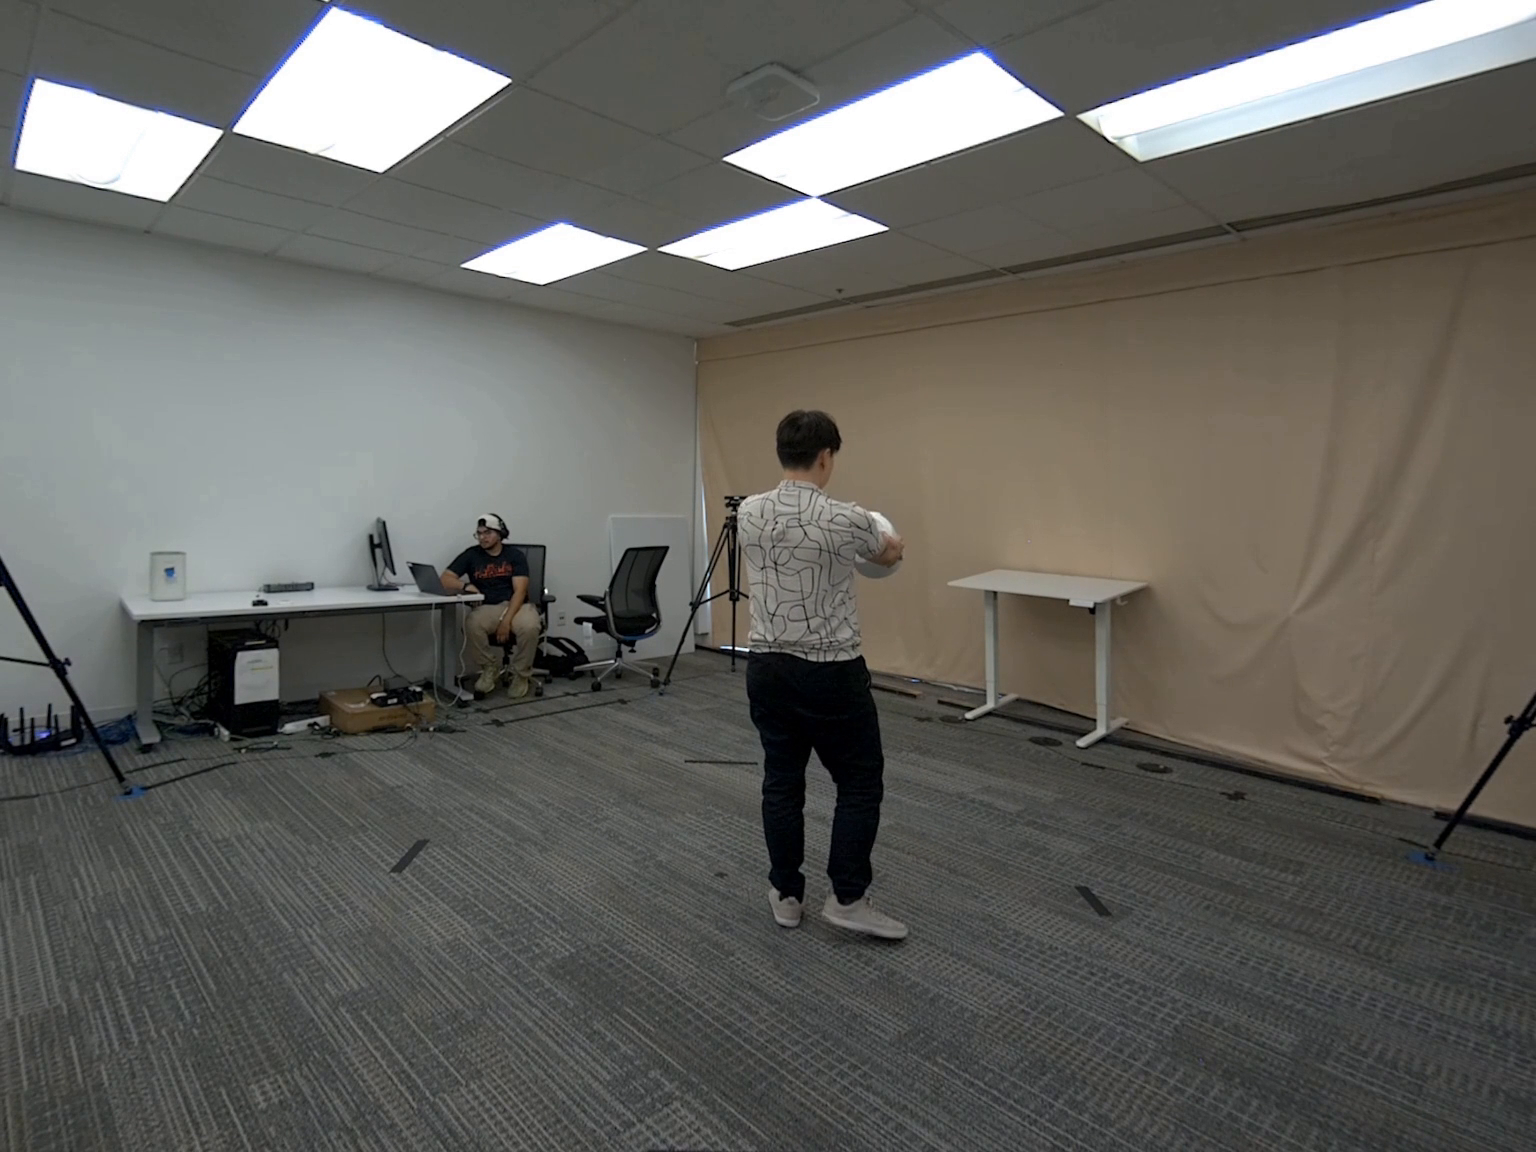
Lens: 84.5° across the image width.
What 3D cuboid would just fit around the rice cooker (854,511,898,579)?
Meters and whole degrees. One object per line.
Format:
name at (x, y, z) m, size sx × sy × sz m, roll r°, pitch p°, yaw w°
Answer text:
rice cooker at (0.400, -0.117, 3.228) m, size 0.222 × 0.222 × 0.225 m, roll 5°, pitch -22°, yaw 28°
